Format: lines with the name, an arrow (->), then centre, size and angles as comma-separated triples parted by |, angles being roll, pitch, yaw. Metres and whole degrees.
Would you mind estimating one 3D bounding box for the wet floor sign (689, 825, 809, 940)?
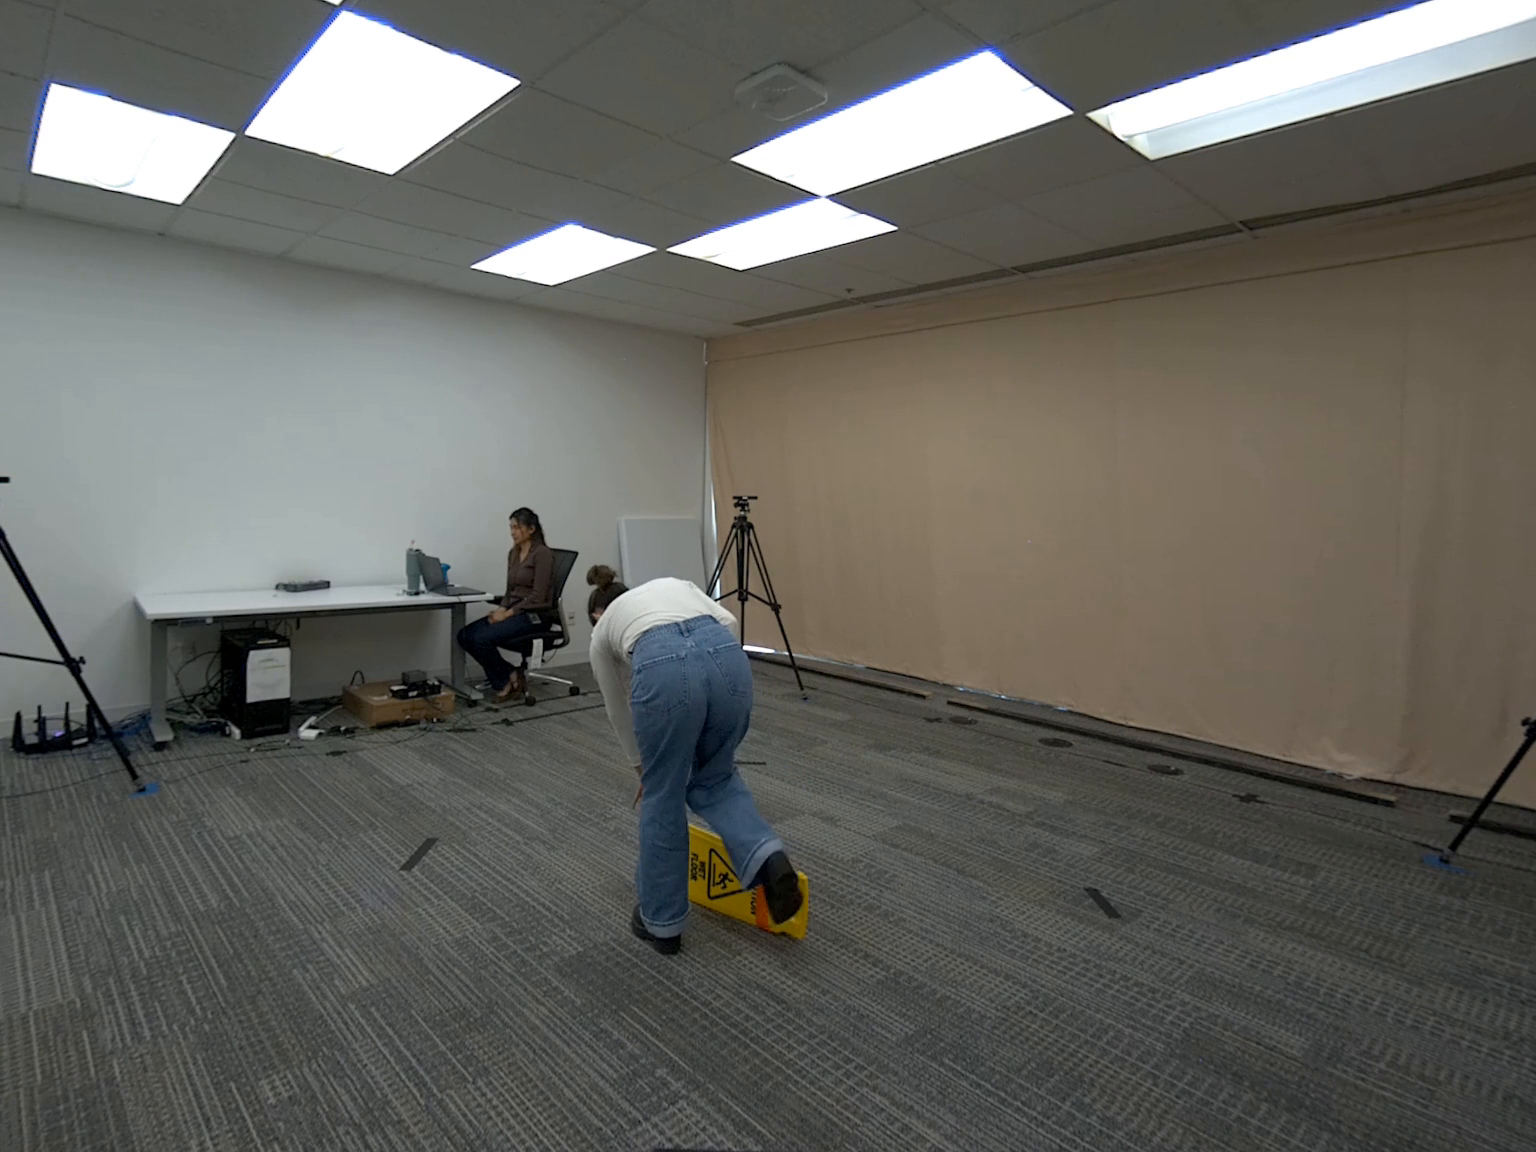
wet floor sign -> -0.109, 0.999, 2.854 | 0.283, 0.281, 0.663 | -4, 9, -42
